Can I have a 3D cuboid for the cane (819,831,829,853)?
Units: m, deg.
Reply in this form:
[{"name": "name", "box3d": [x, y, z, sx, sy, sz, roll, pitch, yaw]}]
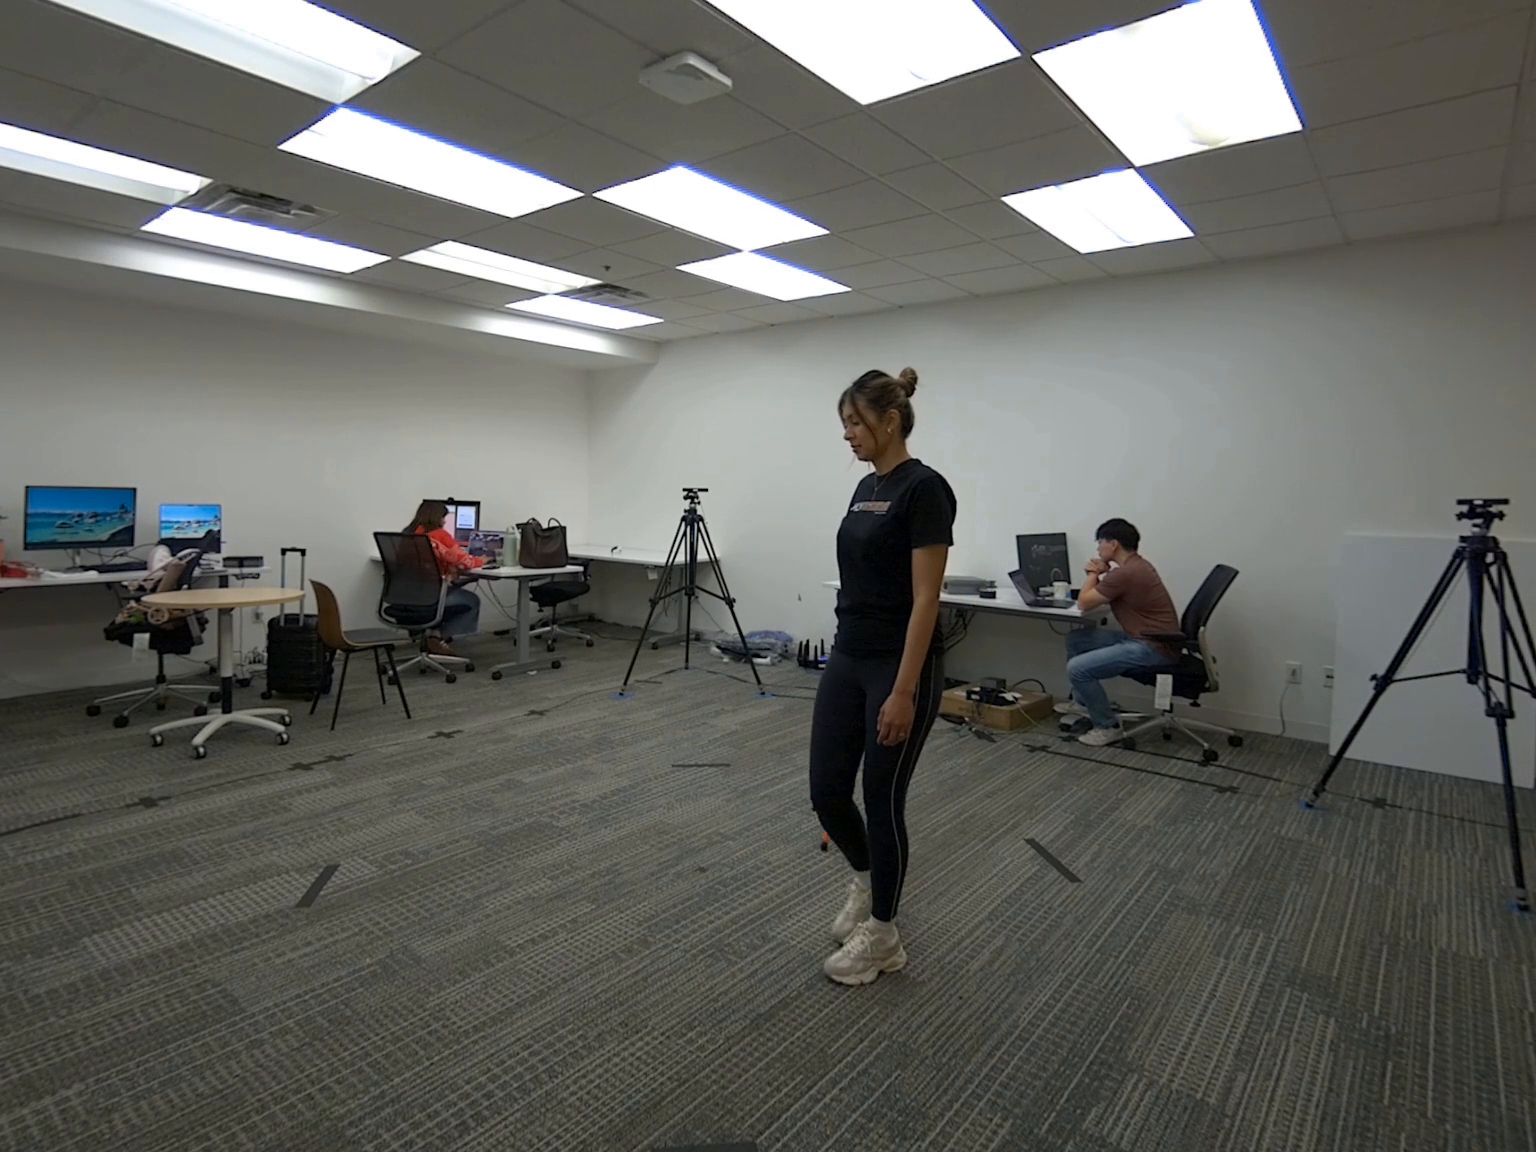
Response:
[{"name": "cane", "box3d": [0.301, 0.647, 3.128, 0.150, 0.886, 0.213, 3, 37, -7]}]
